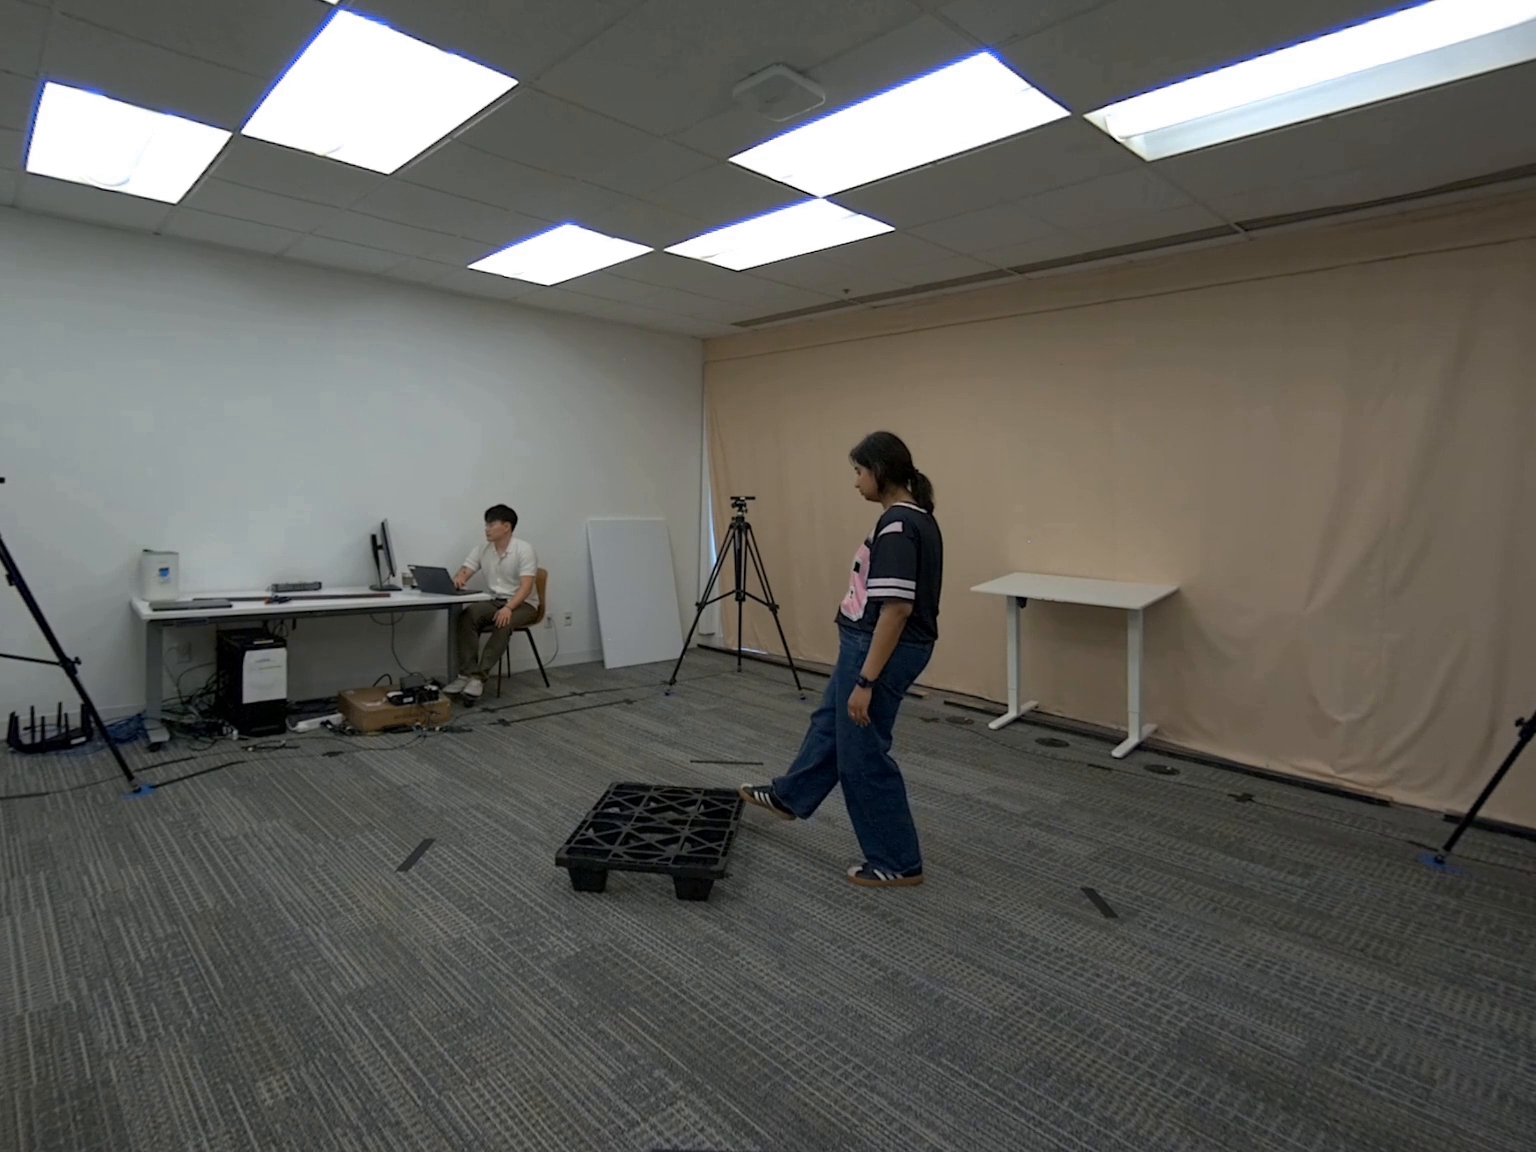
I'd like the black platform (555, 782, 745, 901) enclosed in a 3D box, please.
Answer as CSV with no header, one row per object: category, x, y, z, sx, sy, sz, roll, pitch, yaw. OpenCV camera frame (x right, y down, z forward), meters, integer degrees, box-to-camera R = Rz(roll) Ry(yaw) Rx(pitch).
black platform,-0.415,1.009,3.282,0.608,0.143,0.804,2,6,6
